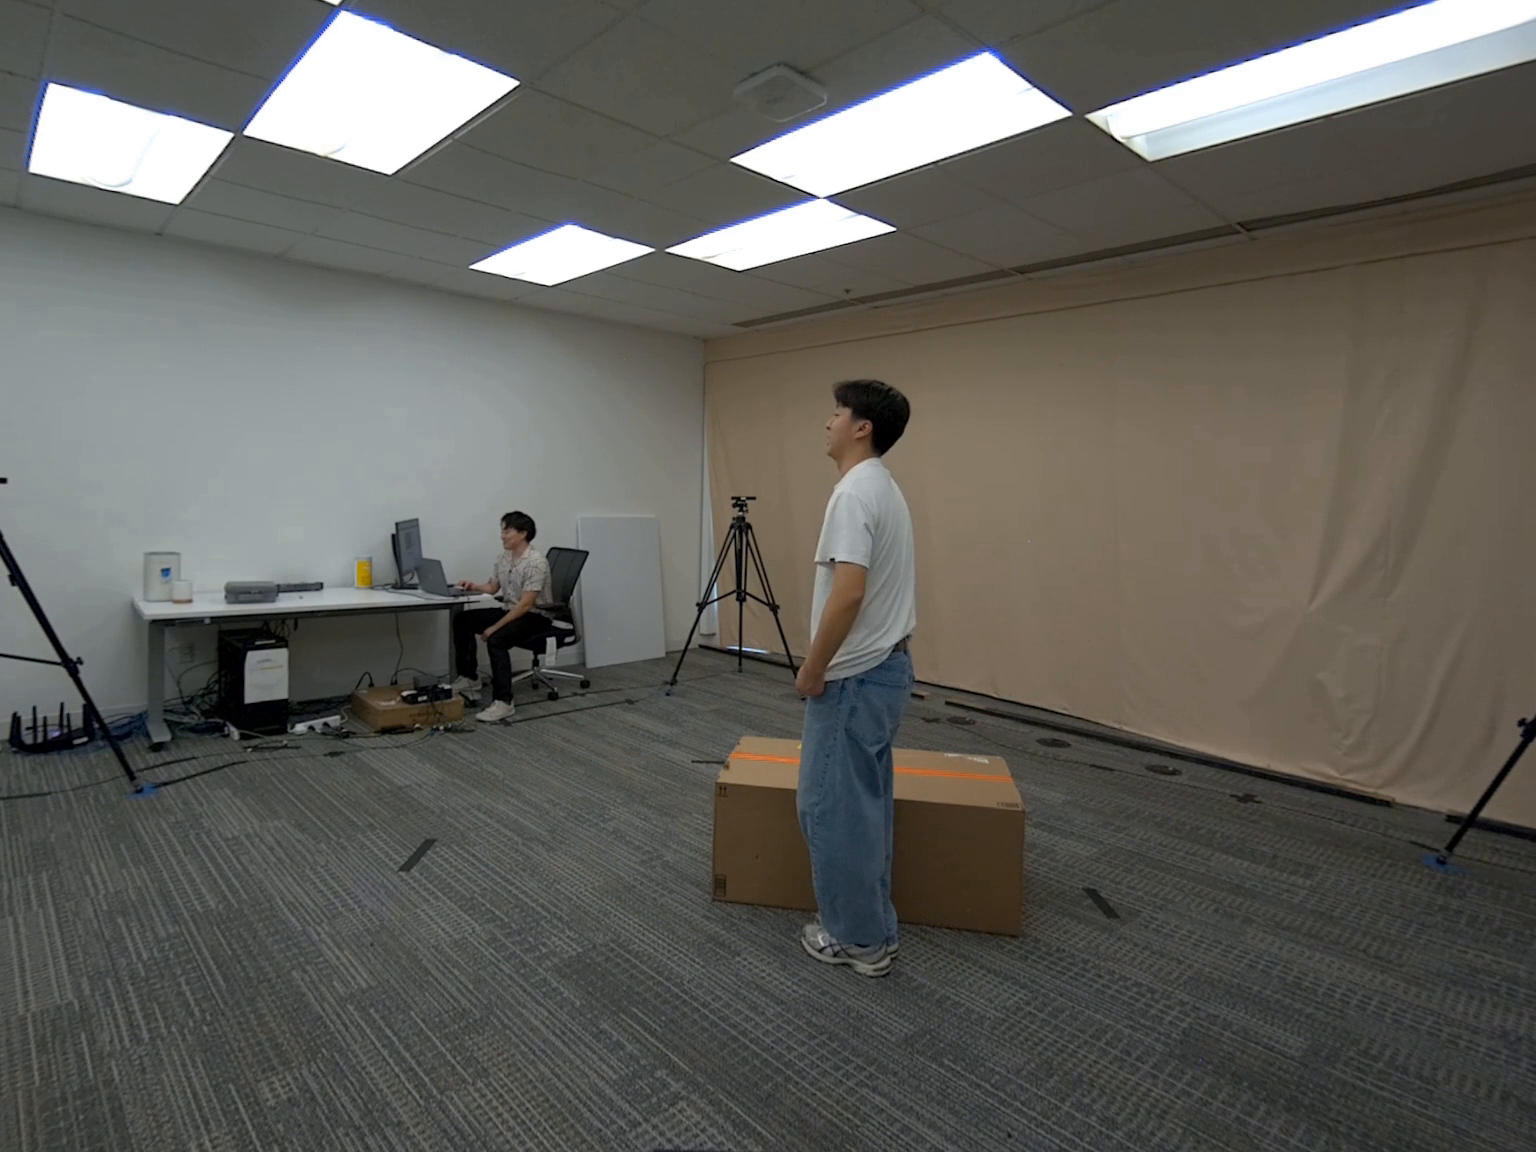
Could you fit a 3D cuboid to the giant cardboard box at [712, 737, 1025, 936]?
[{"bbox_3d":[0.356,0.904,3.072,1.035,0.425,0.574,2,4,10],"label":"giant cardboard box"}]
